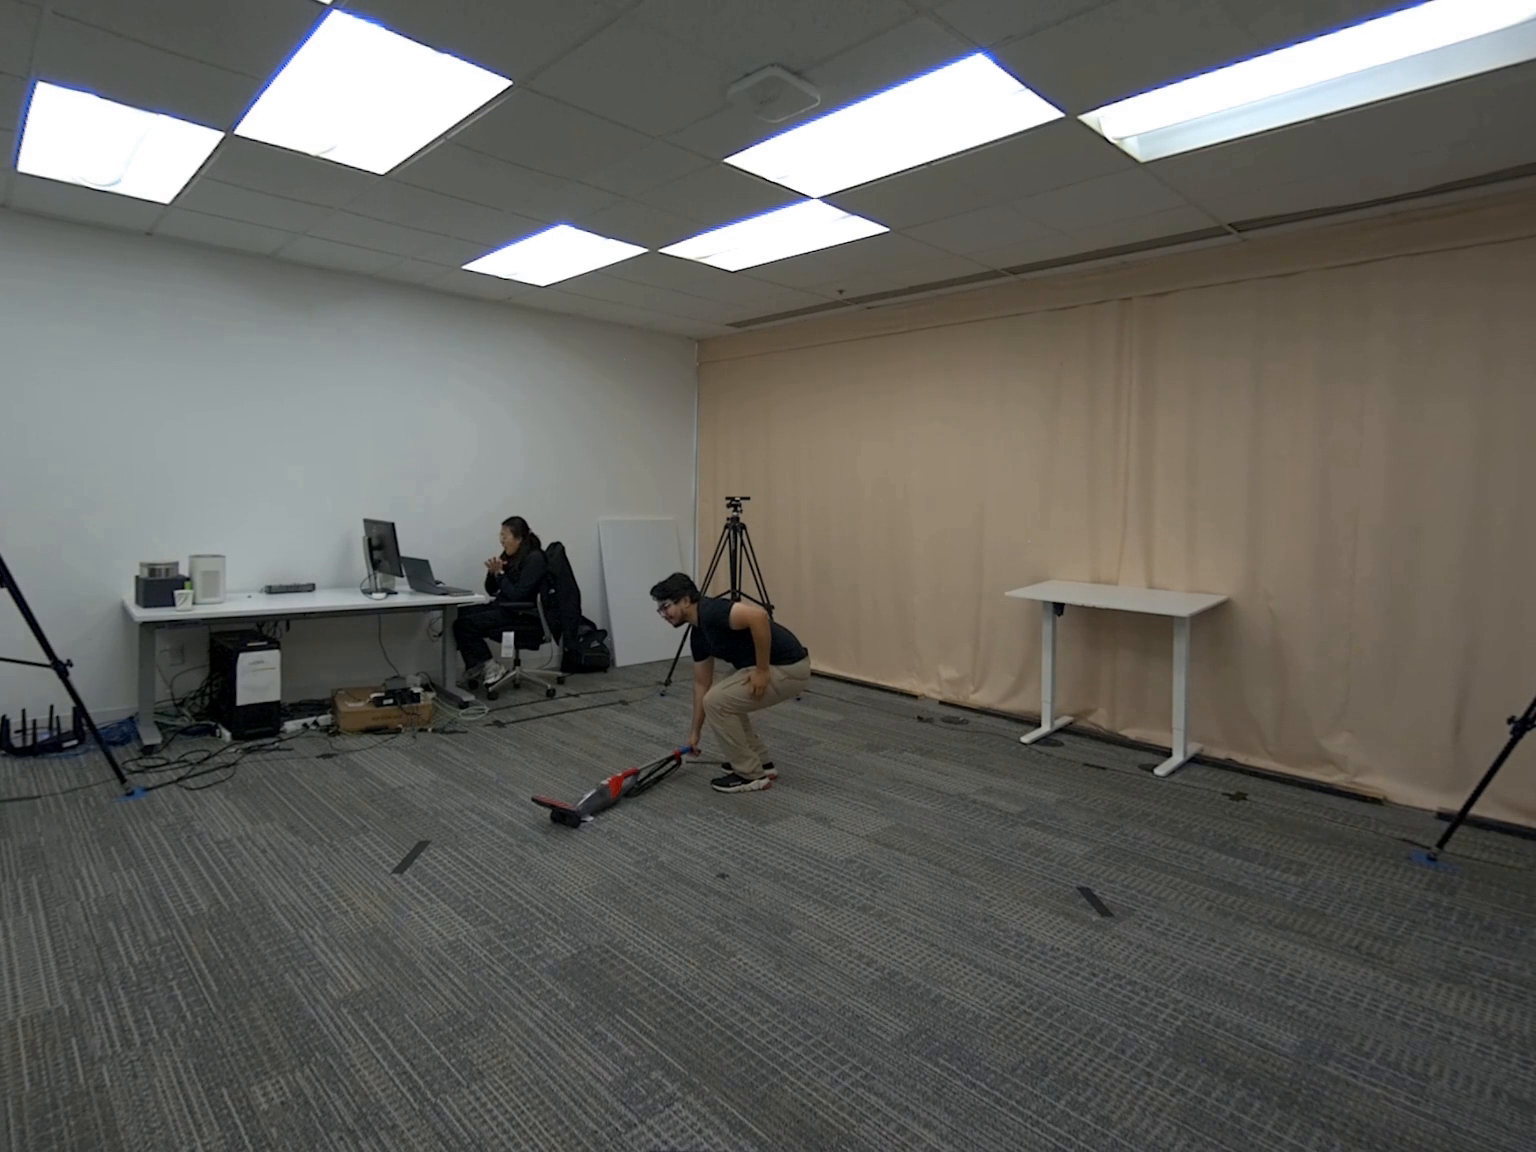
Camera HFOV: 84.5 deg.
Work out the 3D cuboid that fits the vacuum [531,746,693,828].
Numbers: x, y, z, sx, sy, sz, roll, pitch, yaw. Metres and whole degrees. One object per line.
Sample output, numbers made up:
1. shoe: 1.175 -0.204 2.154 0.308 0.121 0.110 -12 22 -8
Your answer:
1. vacuum: -0.635 0.961 3.956 0.258 0.143 1.030 4 6 29
